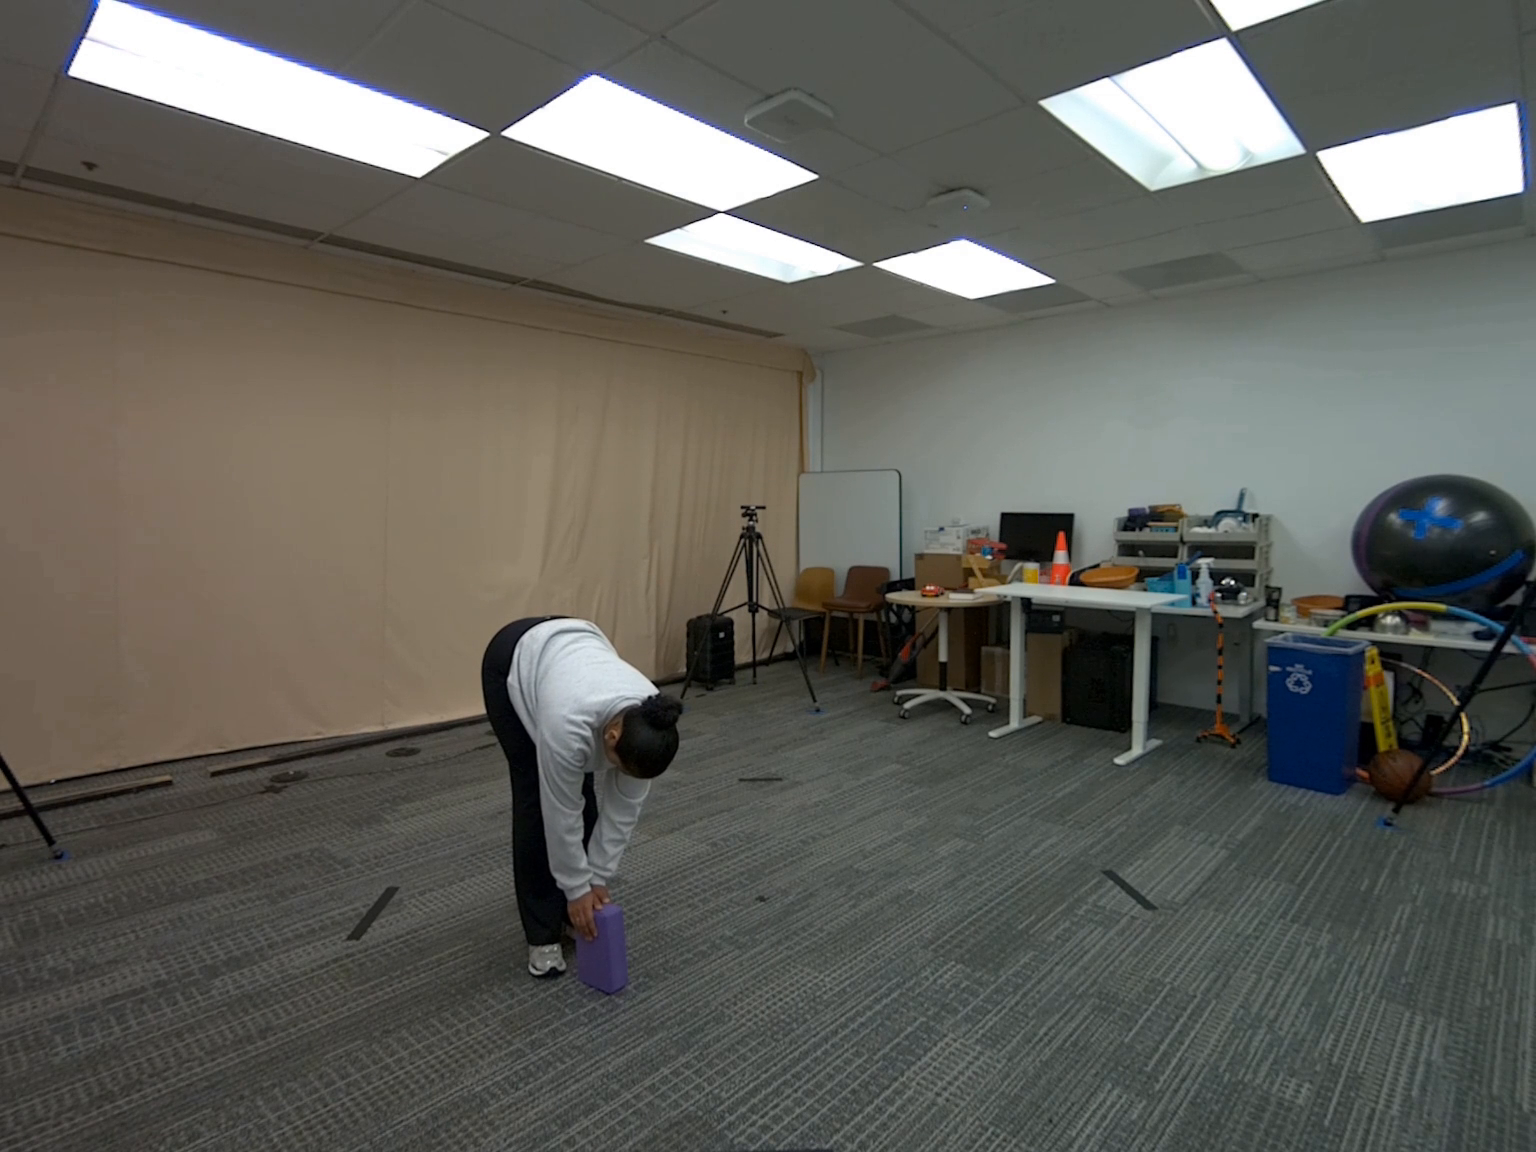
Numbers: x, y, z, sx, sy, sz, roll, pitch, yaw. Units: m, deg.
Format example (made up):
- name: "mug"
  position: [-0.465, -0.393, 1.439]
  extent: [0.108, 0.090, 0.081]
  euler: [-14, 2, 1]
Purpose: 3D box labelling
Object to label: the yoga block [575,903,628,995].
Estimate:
- name: "yoga block"
  position: [-0.486, 1.073, 2.453]
  extent: [0.153, 0.229, 0.074]
  euler: [-2, 2, 40]
